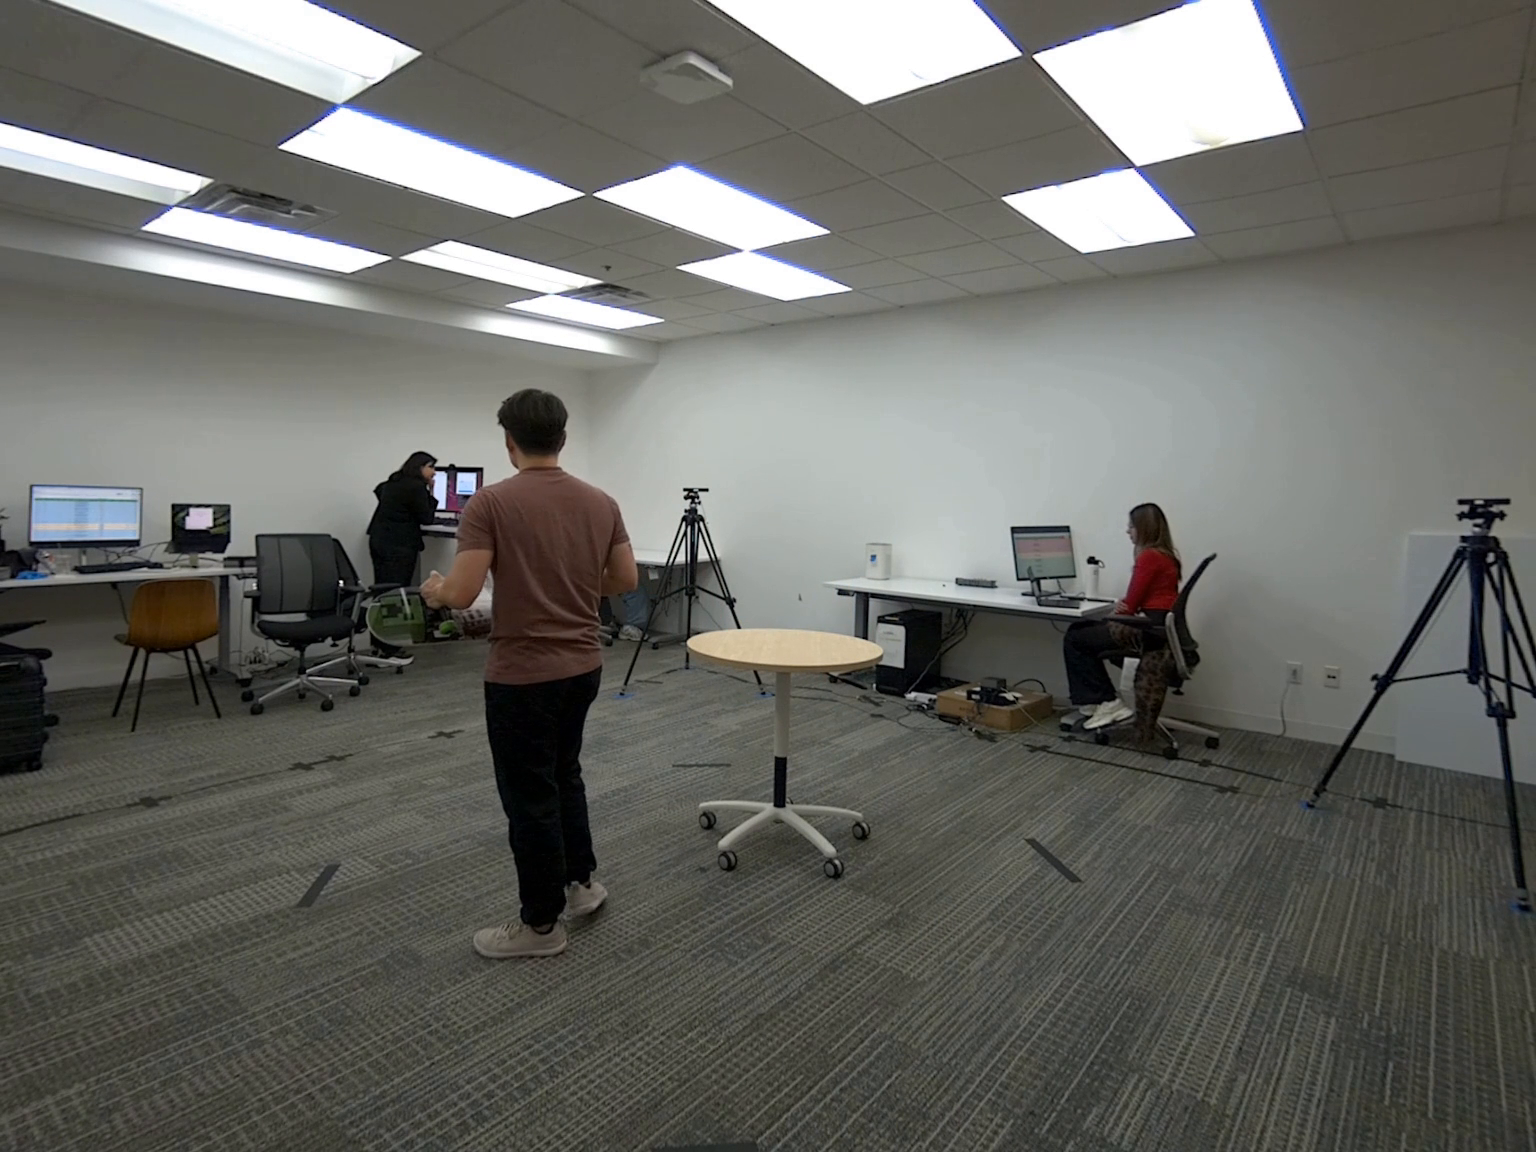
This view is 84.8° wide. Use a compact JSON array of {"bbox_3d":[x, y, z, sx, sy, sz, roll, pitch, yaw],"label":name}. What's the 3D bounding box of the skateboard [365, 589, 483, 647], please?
[{"bbox_3d":[-0.858,0.092,2.712,0.761,0.199,0.110,-3,-31,-44],"label":"skateboard"}]
